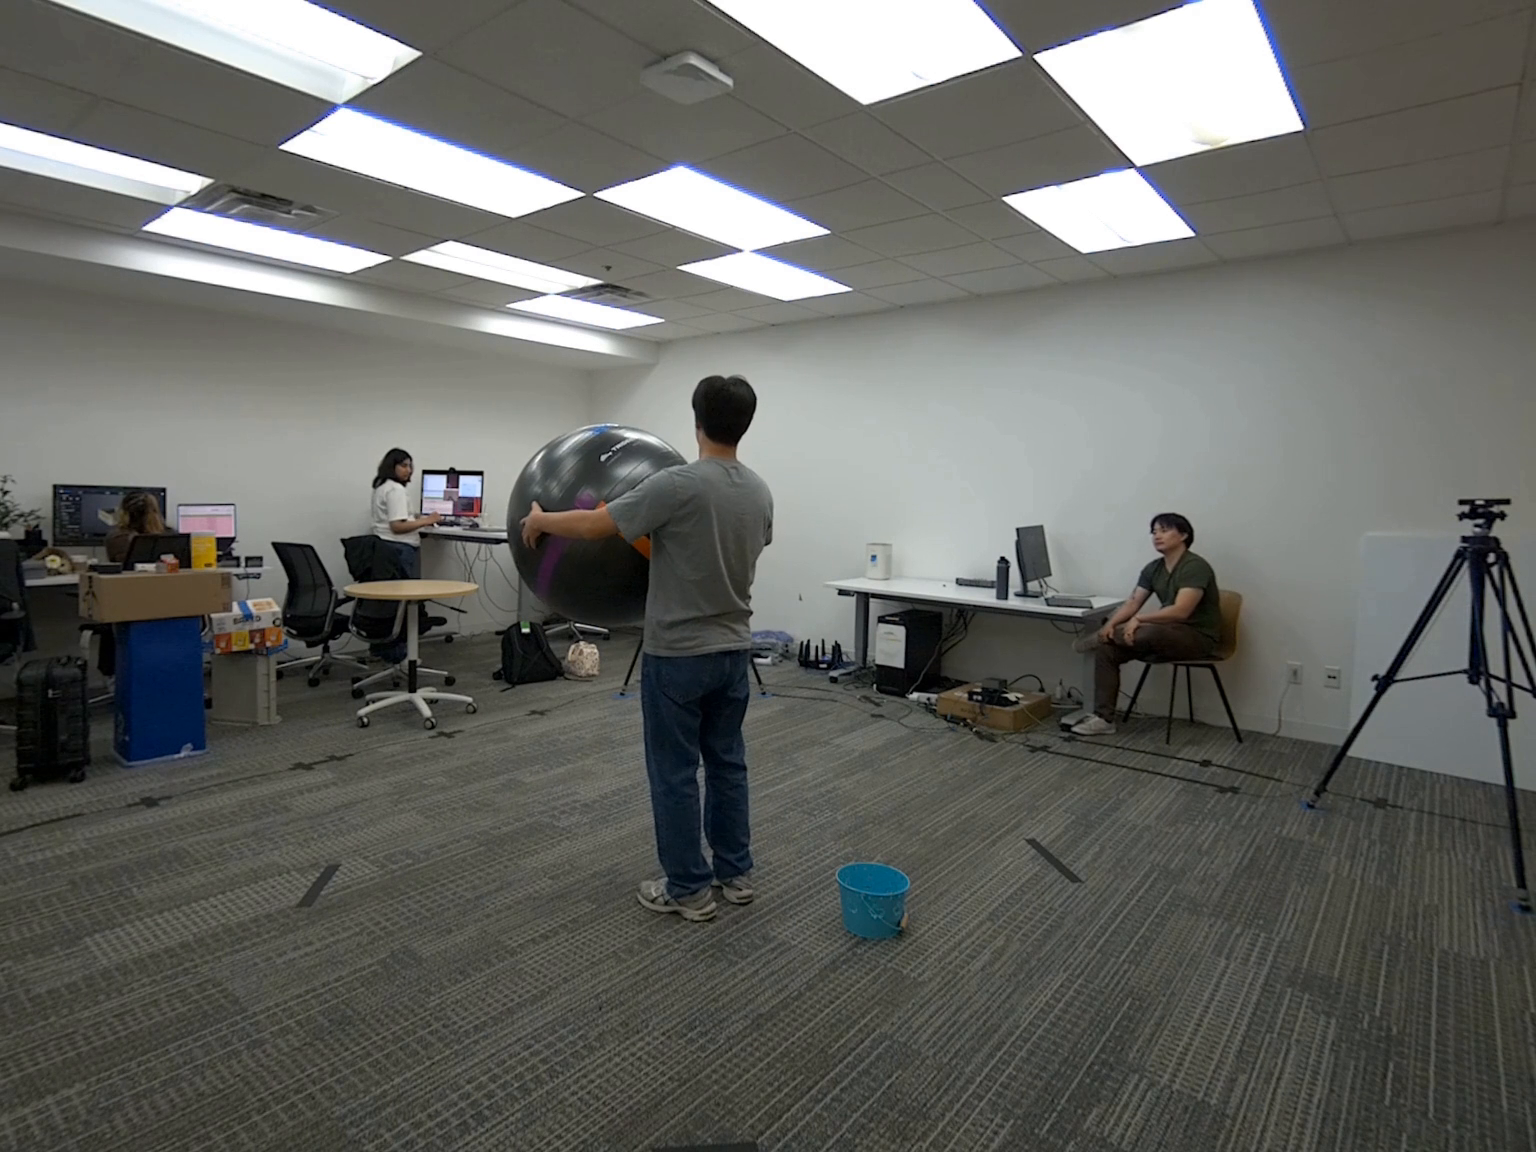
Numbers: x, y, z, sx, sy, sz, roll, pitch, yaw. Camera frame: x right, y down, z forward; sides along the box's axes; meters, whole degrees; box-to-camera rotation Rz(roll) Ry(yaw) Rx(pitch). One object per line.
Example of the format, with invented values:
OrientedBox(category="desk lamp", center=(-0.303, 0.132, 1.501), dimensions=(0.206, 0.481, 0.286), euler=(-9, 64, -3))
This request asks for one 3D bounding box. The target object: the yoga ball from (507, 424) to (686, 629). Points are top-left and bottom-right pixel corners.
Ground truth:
OrientedBox(category="yoga ball", center=(-0.620, -0.191, 3.202), dimensions=(0.757, 0.756, 0.761), euler=(1, 4, -2))
